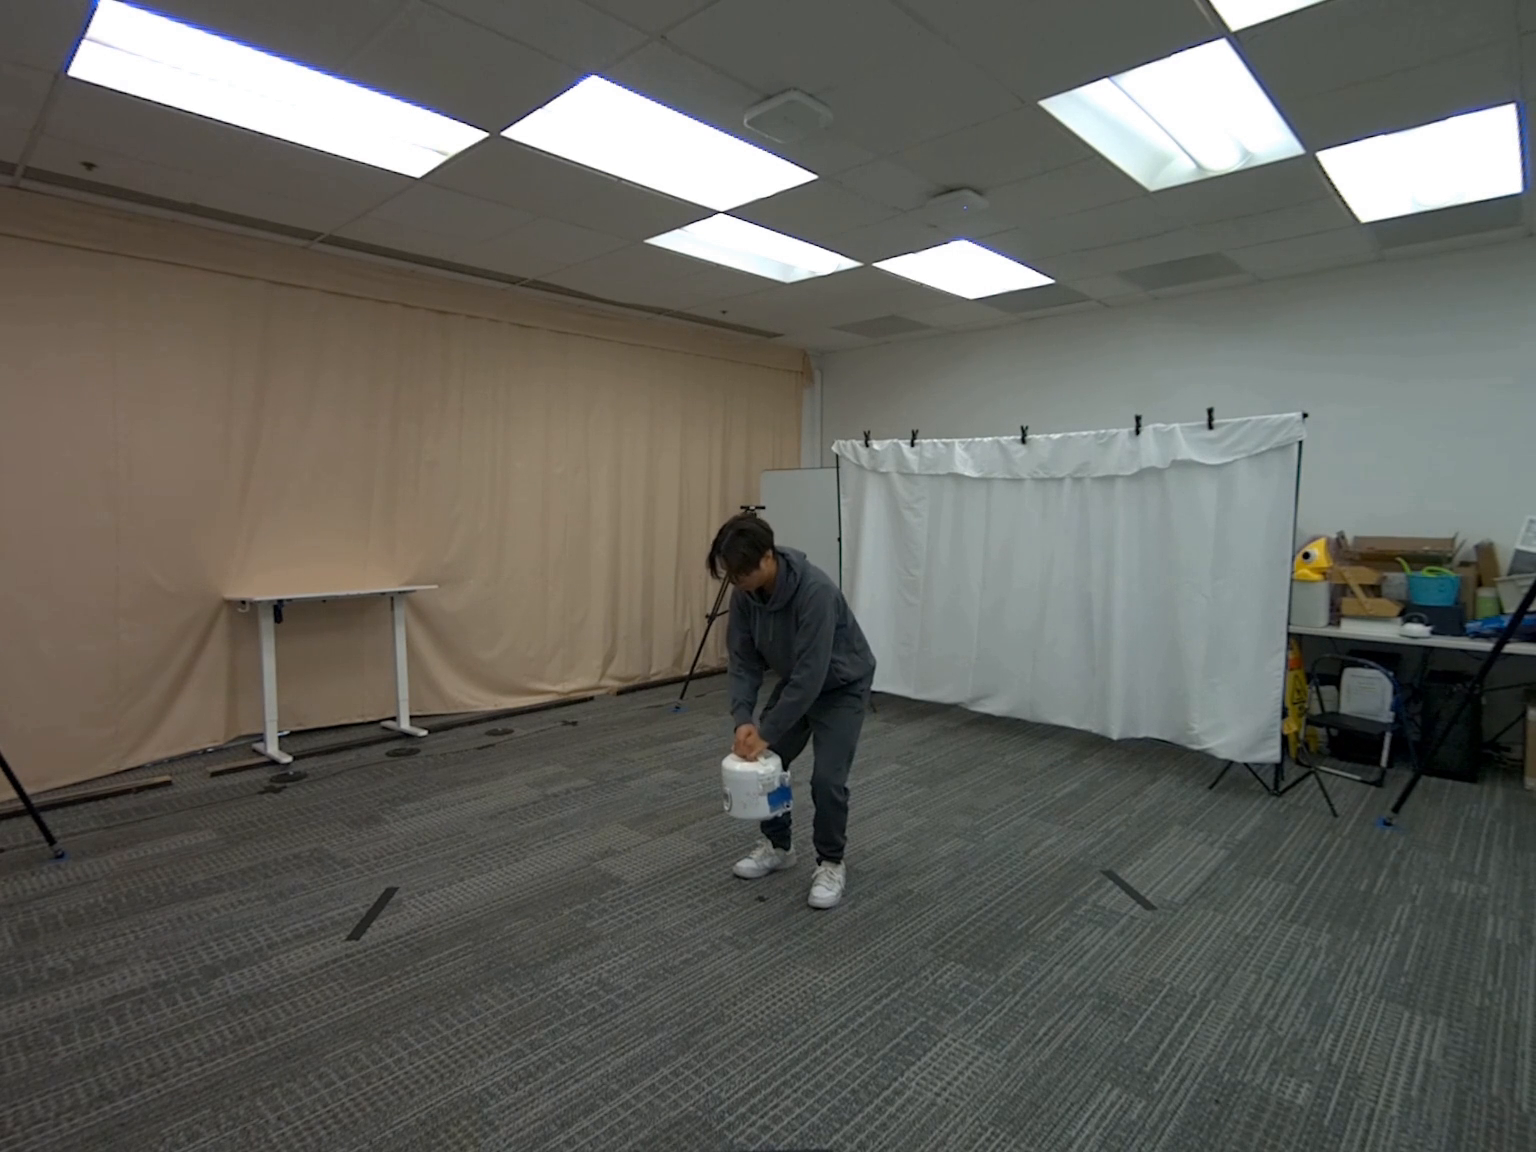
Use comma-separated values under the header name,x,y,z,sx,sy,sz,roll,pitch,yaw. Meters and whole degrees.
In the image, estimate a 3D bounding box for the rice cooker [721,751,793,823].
name,x,y,z,sx,sy,sz,roll,pitch,yaw
rice cooker,-0.053,0.710,2.918,0.212,0.232,0.227,-5,5,-29
